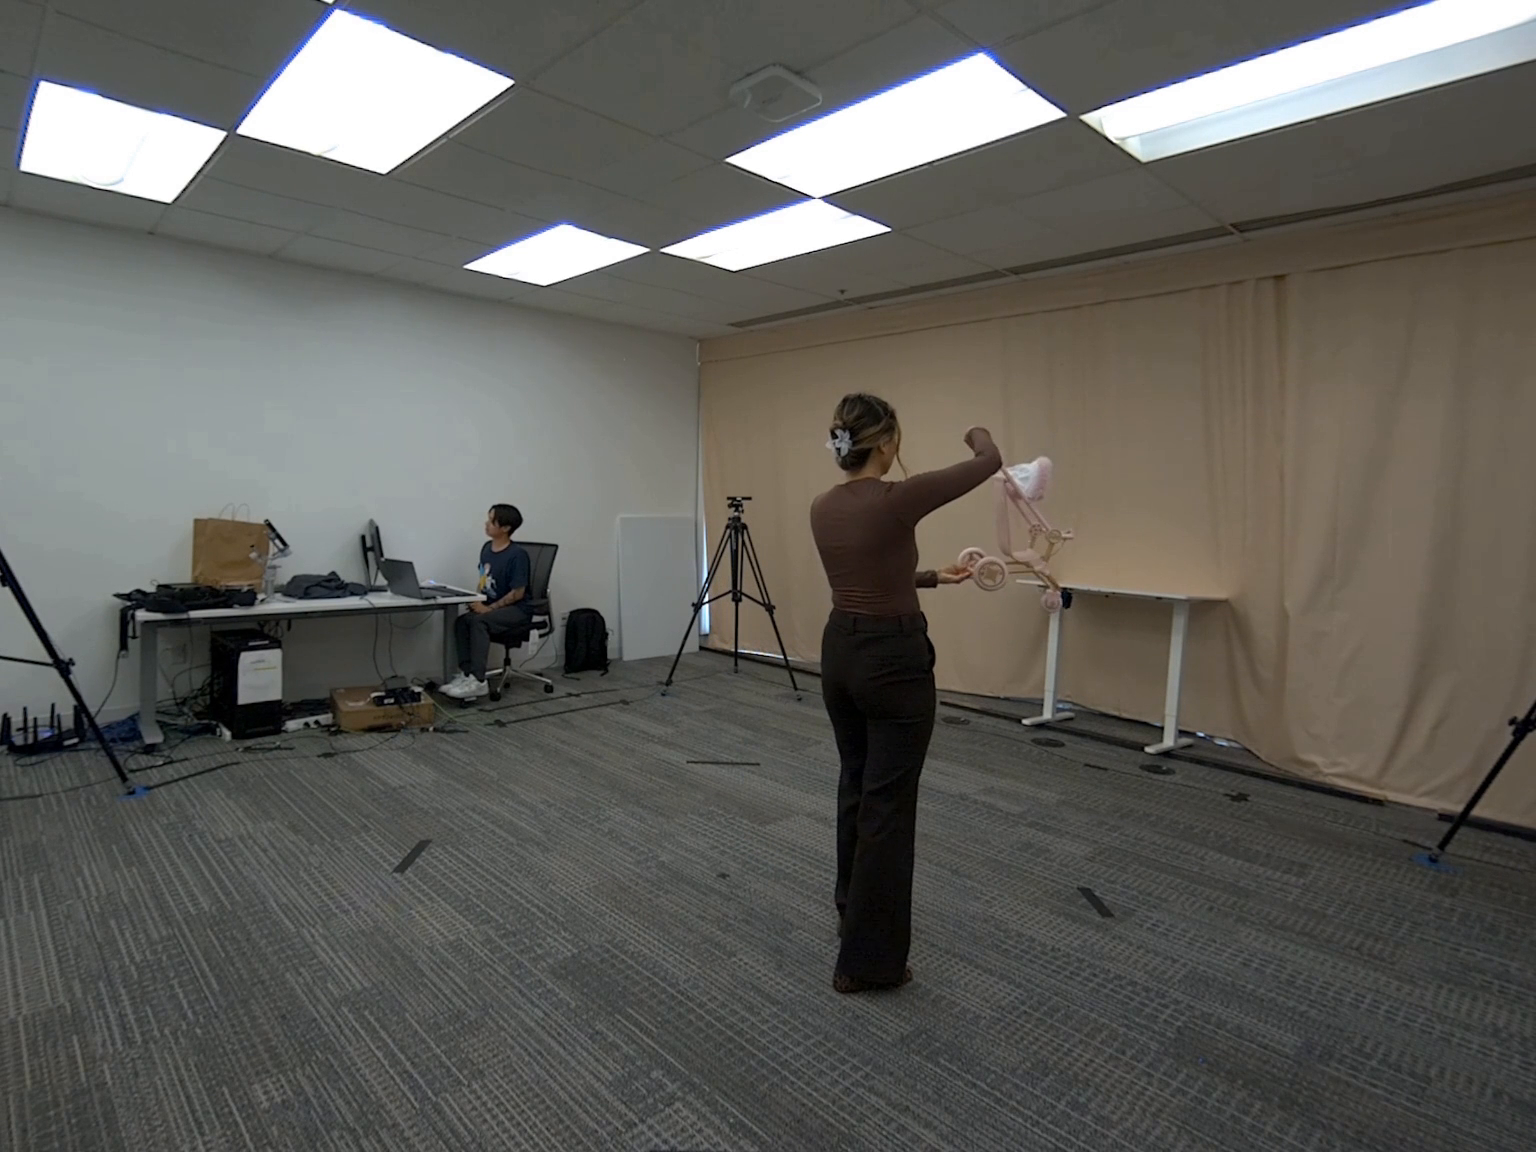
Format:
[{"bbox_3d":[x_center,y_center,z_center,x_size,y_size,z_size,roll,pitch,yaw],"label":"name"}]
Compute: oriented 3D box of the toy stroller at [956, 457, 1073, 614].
[{"bbox_3d":[0.831,-0.157,2.753,0.343,0.533,0.281,5,6,6],"label":"toy stroller"}]
